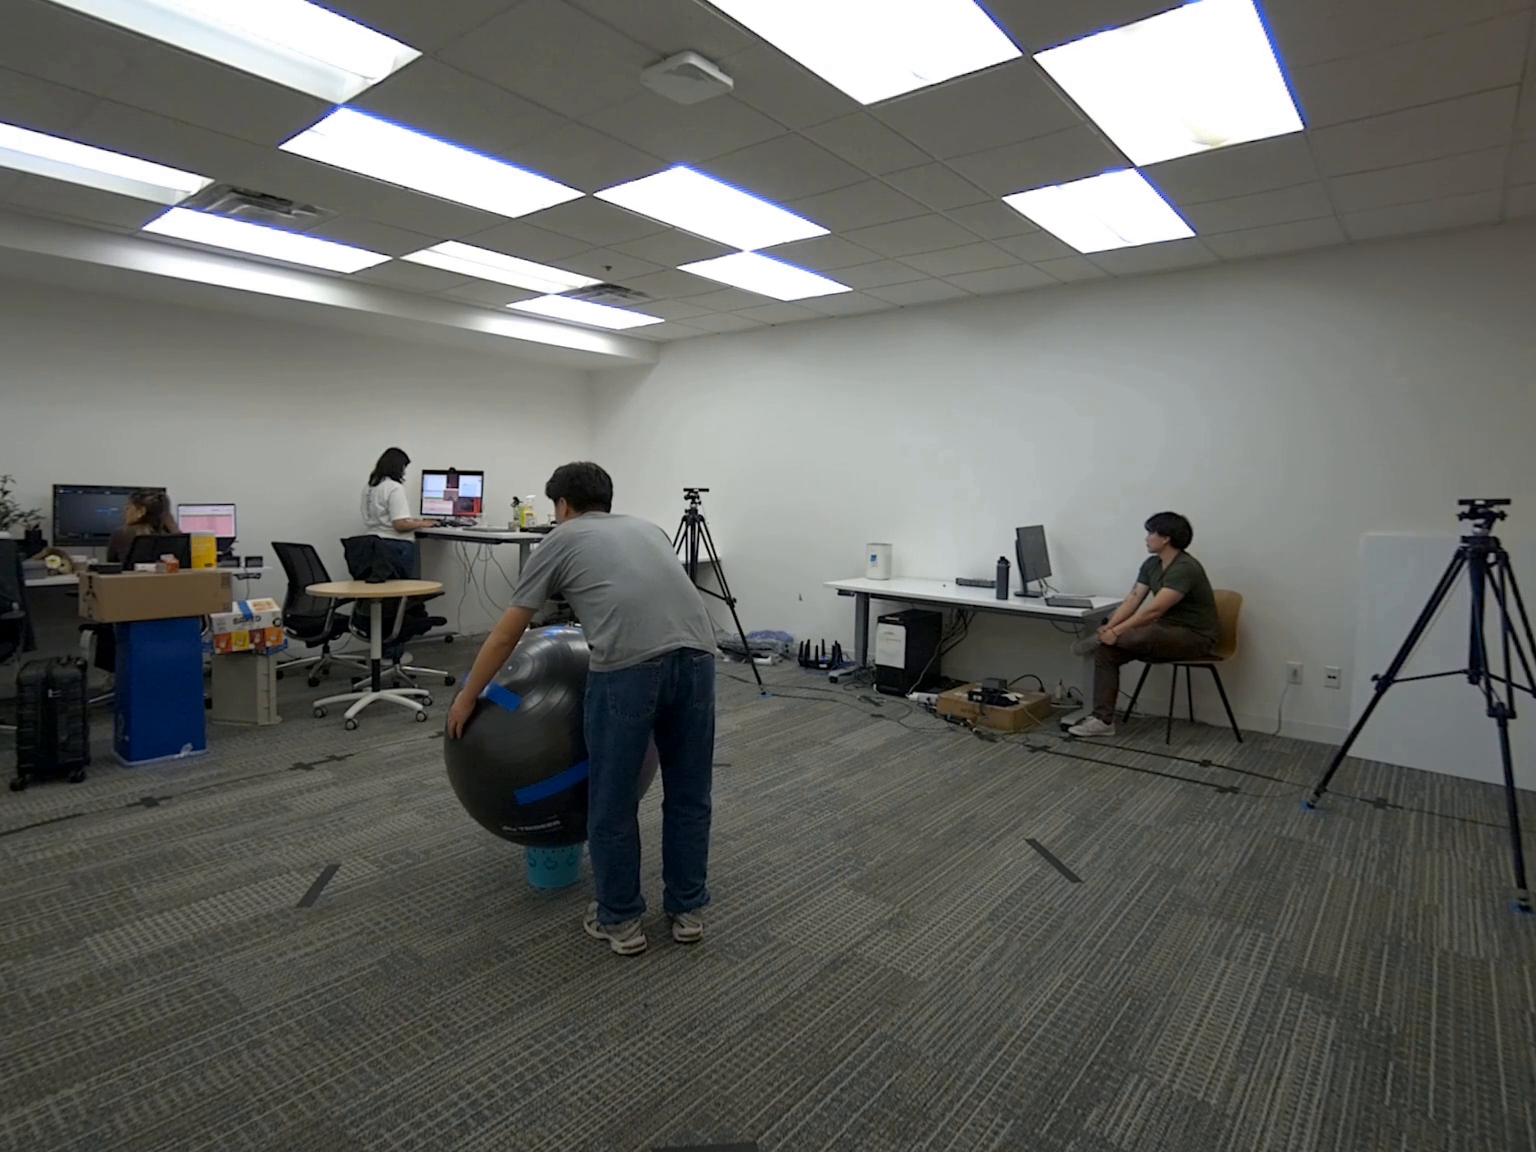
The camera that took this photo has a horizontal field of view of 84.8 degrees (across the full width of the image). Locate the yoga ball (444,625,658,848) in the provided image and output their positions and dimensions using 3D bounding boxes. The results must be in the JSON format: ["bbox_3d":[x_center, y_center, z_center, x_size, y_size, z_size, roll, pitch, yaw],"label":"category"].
[{"bbox_3d":[-0.772,0.565,3.009,0.757,0.755,0.762,1,4,-2],"label":"yoga ball"}]
